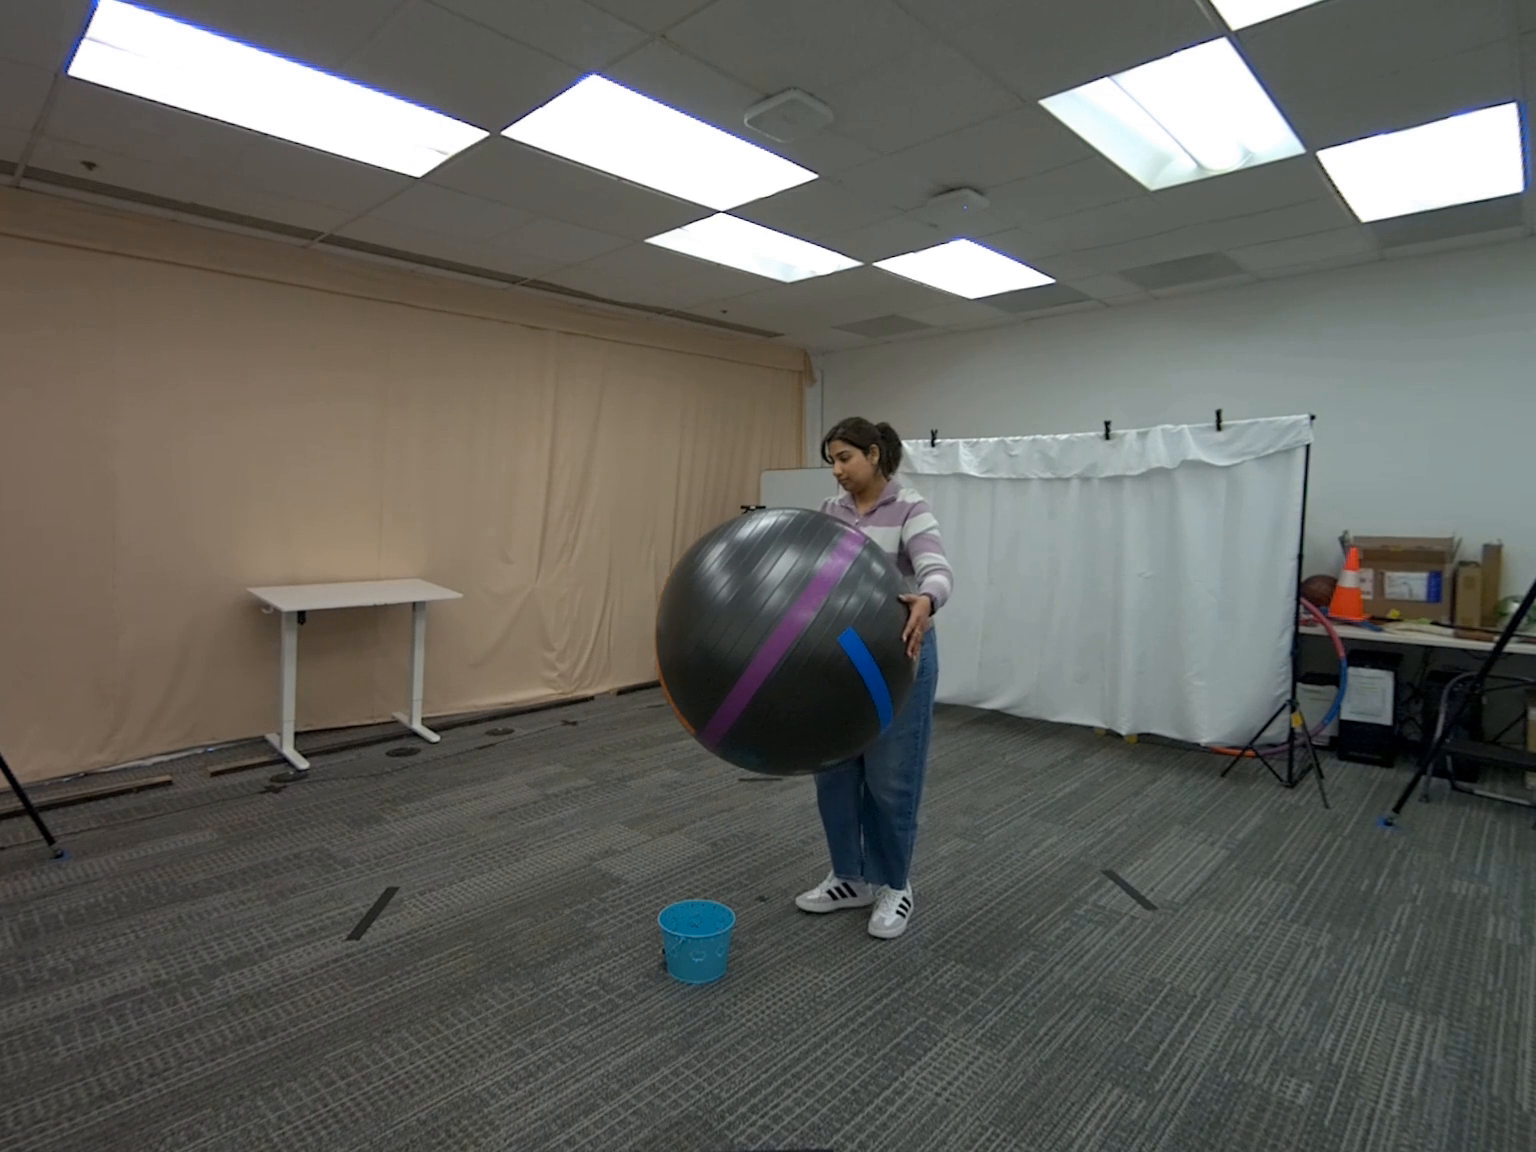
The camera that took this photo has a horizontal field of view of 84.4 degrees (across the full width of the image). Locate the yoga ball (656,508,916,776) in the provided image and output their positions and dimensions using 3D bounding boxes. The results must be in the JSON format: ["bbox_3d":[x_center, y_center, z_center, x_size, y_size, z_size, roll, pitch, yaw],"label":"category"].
[{"bbox_3d":[0.034,0.193,2.415,0.757,0.756,0.761,0,4,-2],"label":"yoga ball"}]
